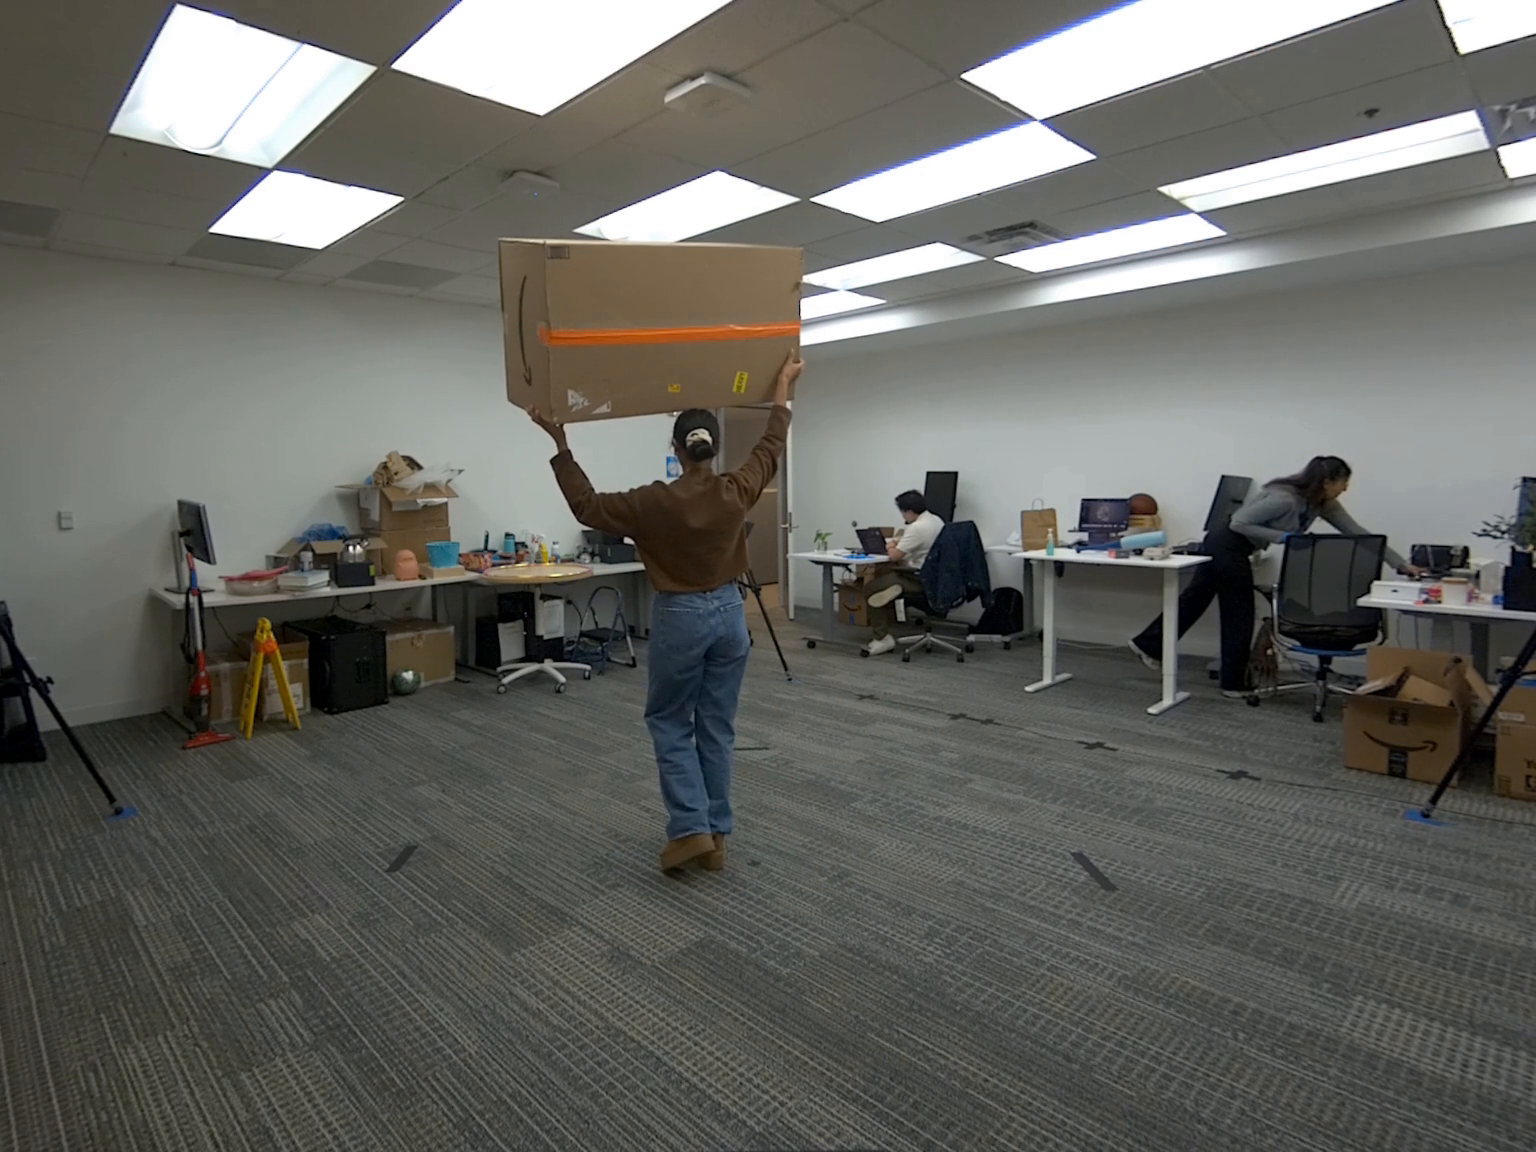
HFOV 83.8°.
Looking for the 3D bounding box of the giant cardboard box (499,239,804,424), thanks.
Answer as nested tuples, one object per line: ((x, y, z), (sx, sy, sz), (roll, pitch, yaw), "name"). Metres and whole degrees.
((-0.413, -0.926, 3.154), (1.005, 0.567, 0.443), (-13, 27, -32), "giant cardboard box")
